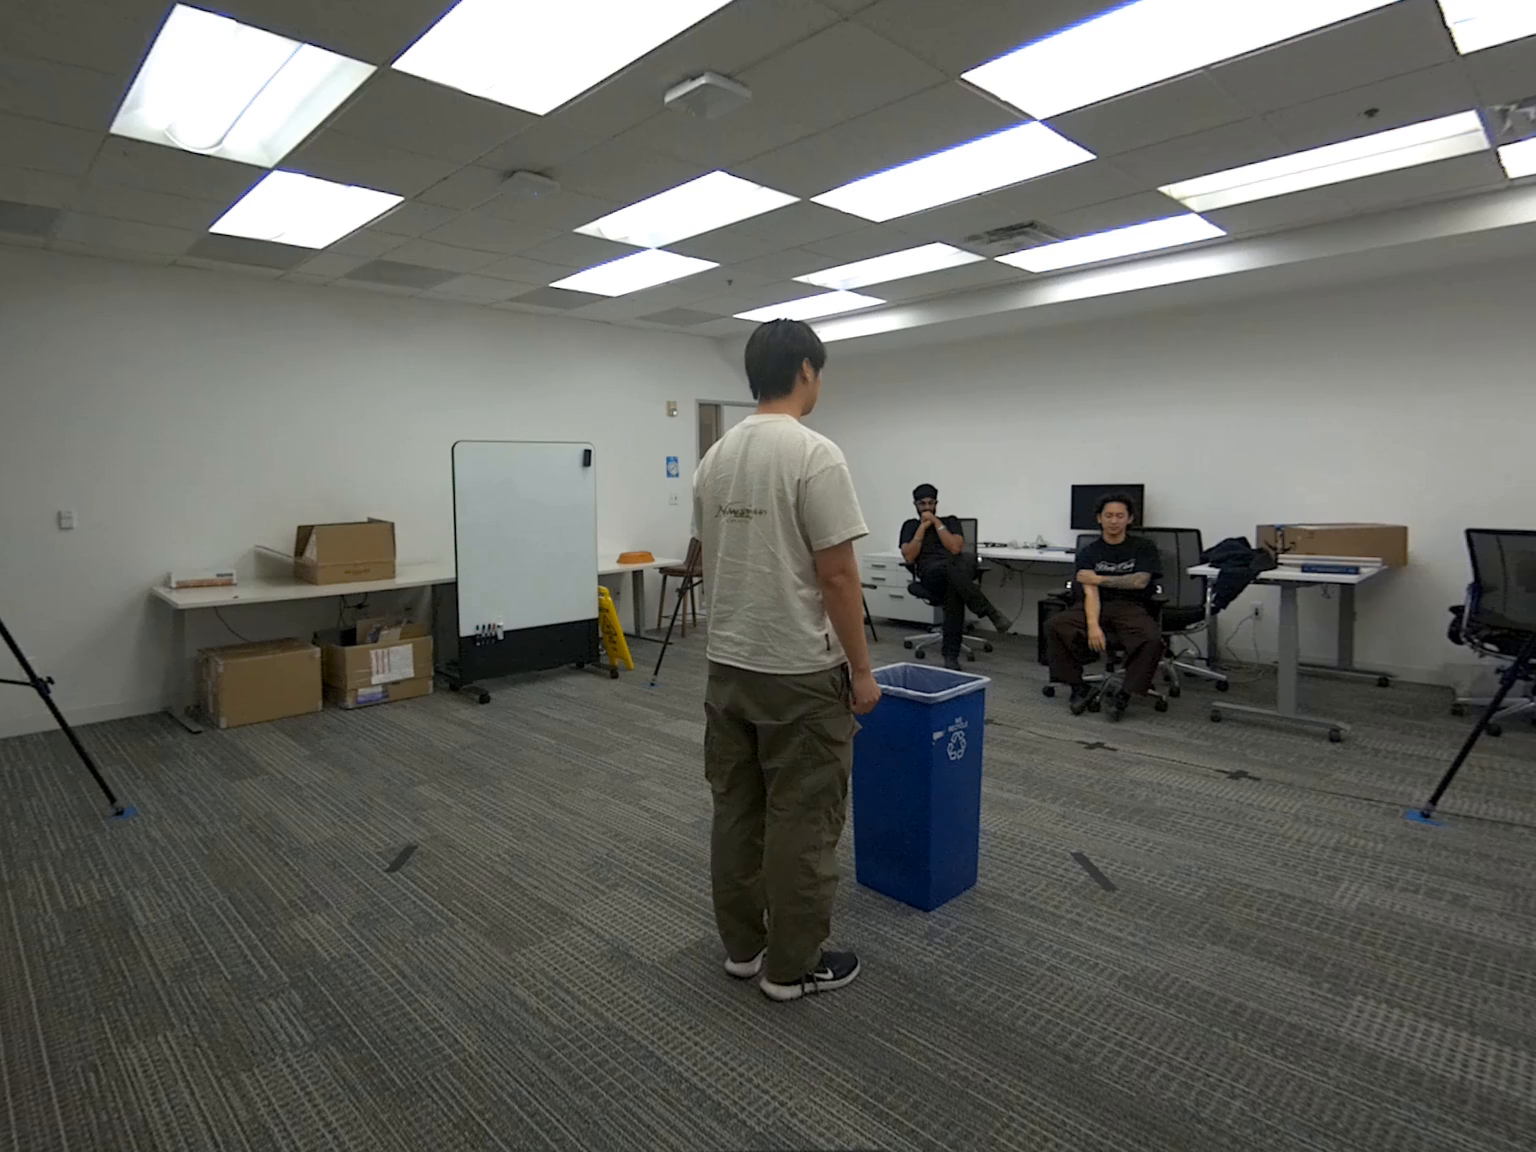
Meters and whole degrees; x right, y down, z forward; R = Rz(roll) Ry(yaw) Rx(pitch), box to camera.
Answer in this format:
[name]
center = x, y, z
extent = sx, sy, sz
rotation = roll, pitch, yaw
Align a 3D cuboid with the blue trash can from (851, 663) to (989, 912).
[blue trash can]
center = 0.513, 0.697, 2.923
extent = 0.364, 0.711, 0.390
rotation = -5, 6, -44
